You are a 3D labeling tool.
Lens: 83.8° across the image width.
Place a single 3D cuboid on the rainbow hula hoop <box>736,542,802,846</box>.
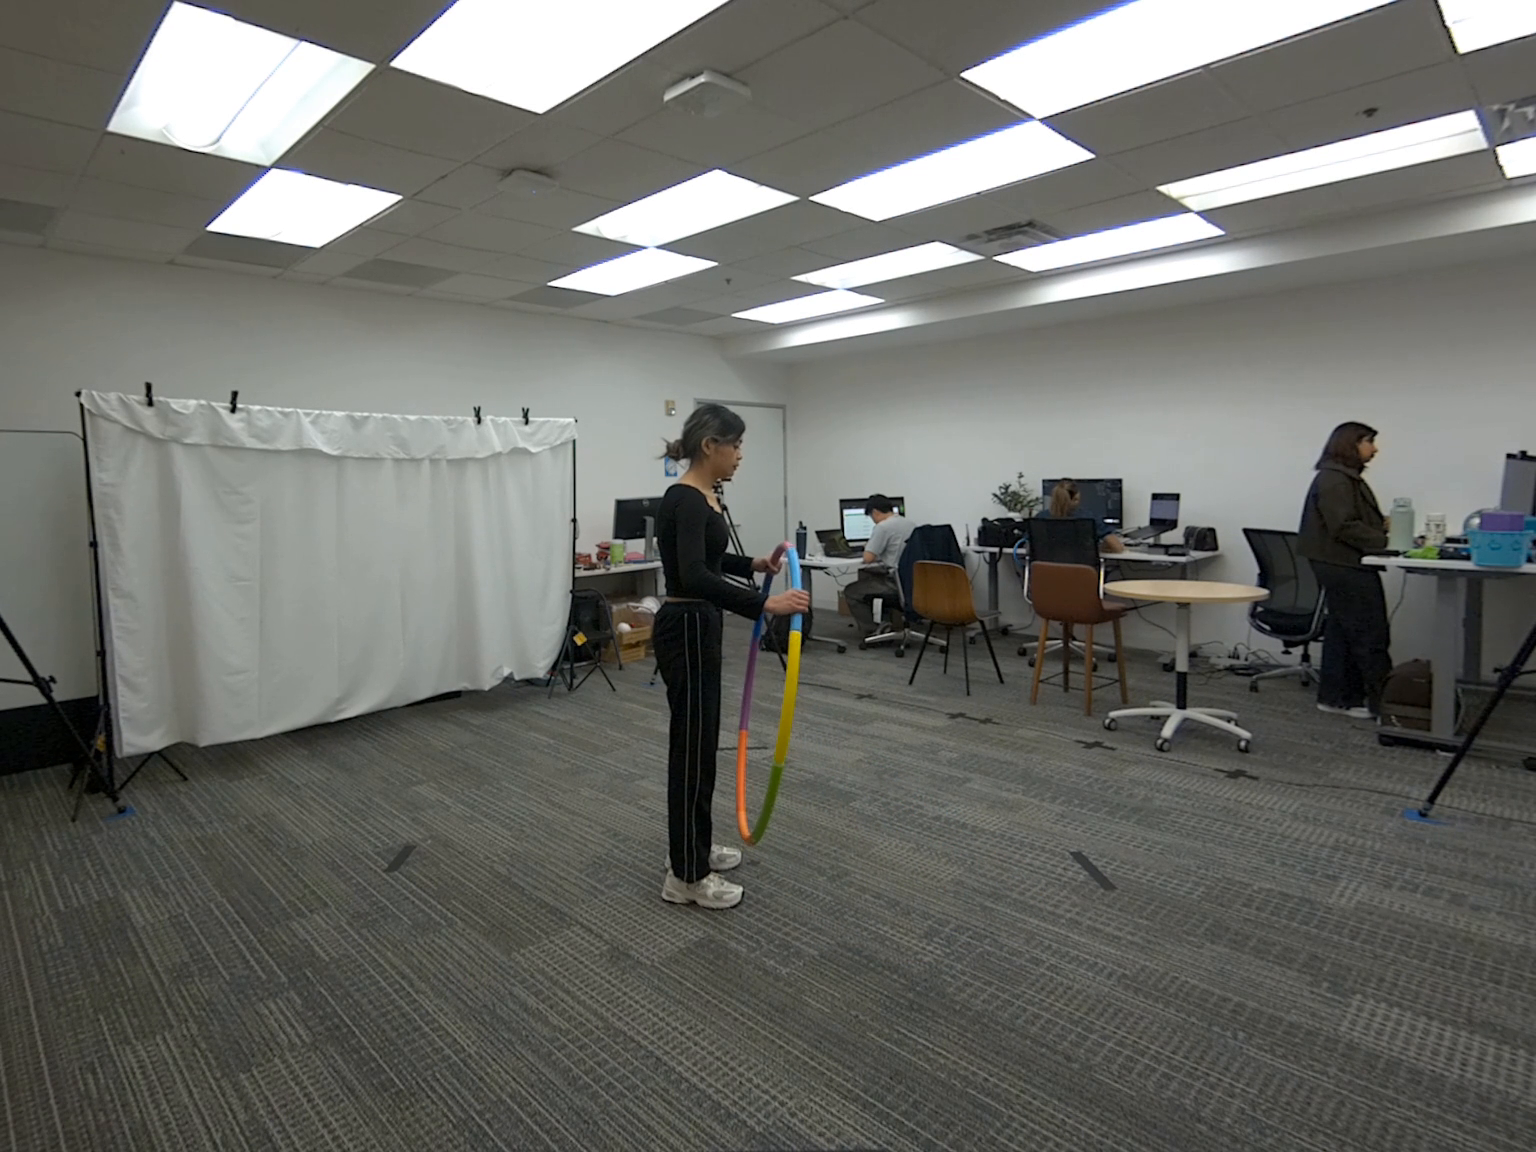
[{"bbox_3d":[-0.009,0.392,2.857,0.035,0.976,0.986,7,4,-6],"label":"rainbow hula hoop"}]
